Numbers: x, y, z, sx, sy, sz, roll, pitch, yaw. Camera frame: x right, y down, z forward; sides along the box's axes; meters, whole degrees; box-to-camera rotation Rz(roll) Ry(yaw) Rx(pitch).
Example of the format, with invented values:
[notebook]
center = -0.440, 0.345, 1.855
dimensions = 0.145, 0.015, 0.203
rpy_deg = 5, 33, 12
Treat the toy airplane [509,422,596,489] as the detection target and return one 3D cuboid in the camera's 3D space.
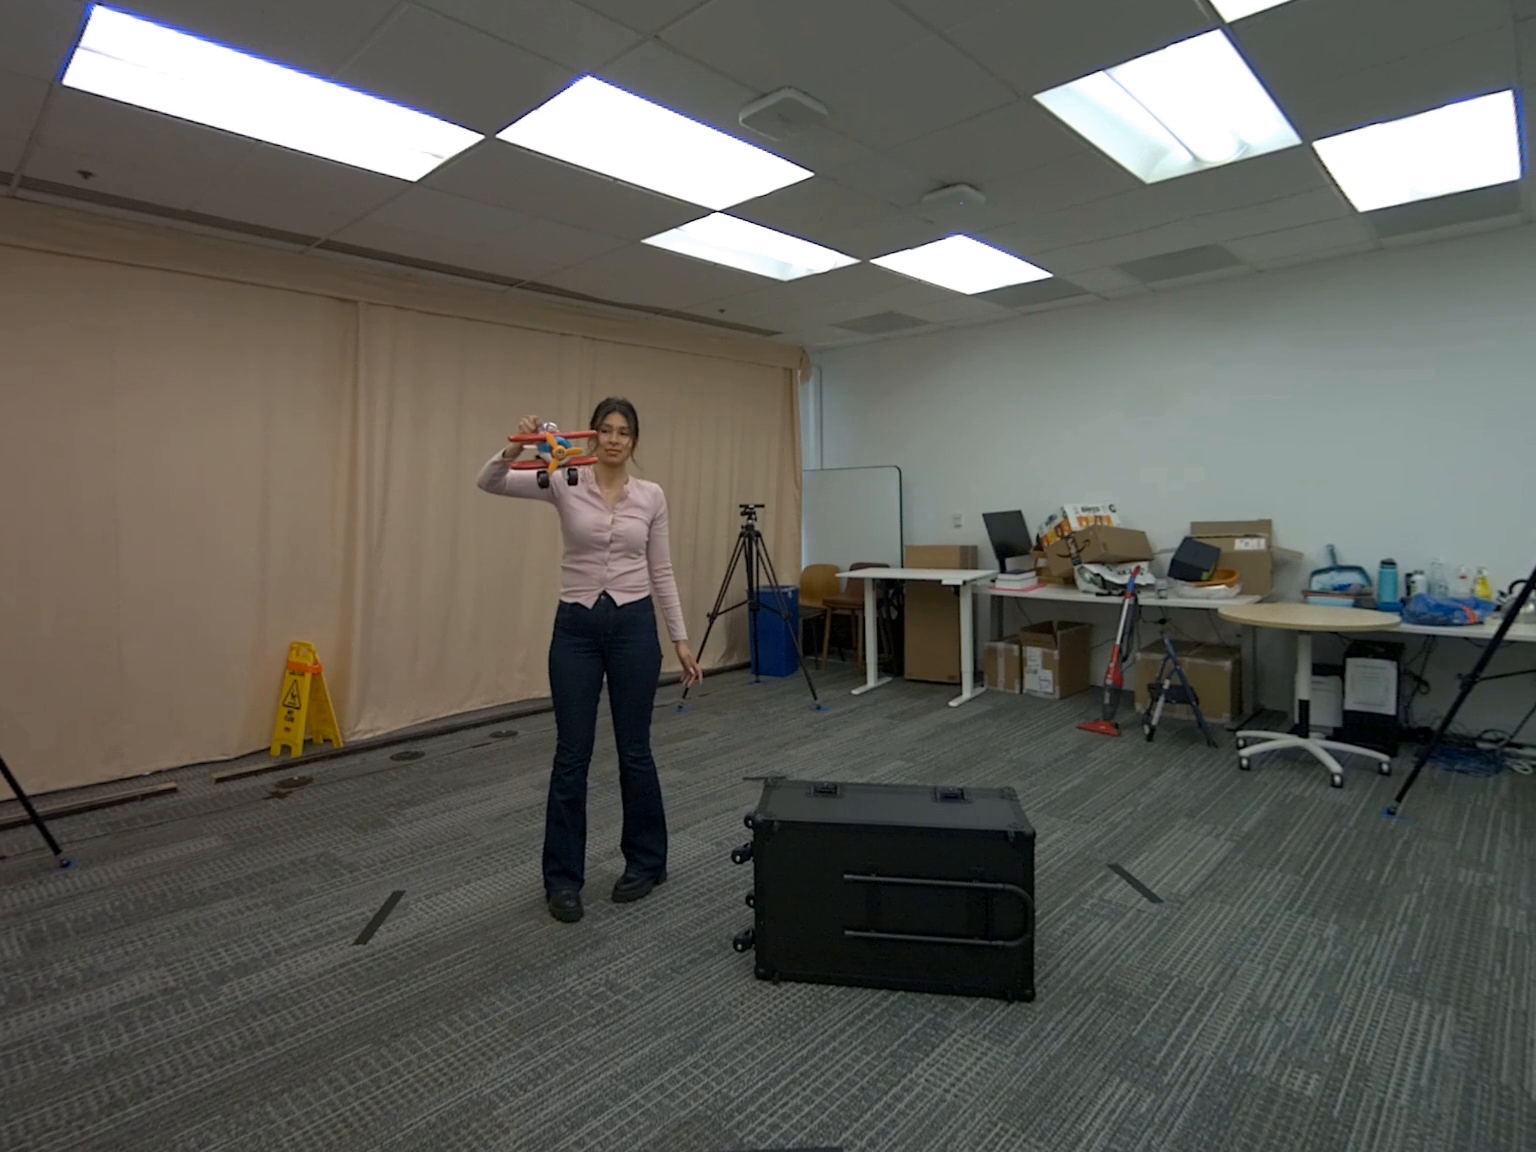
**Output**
[toy airplane]
center = -0.654, -0.361, 2.463
dimensions = 0.268, 0.154, 0.246
rpy_deg = 23, 32, 31
